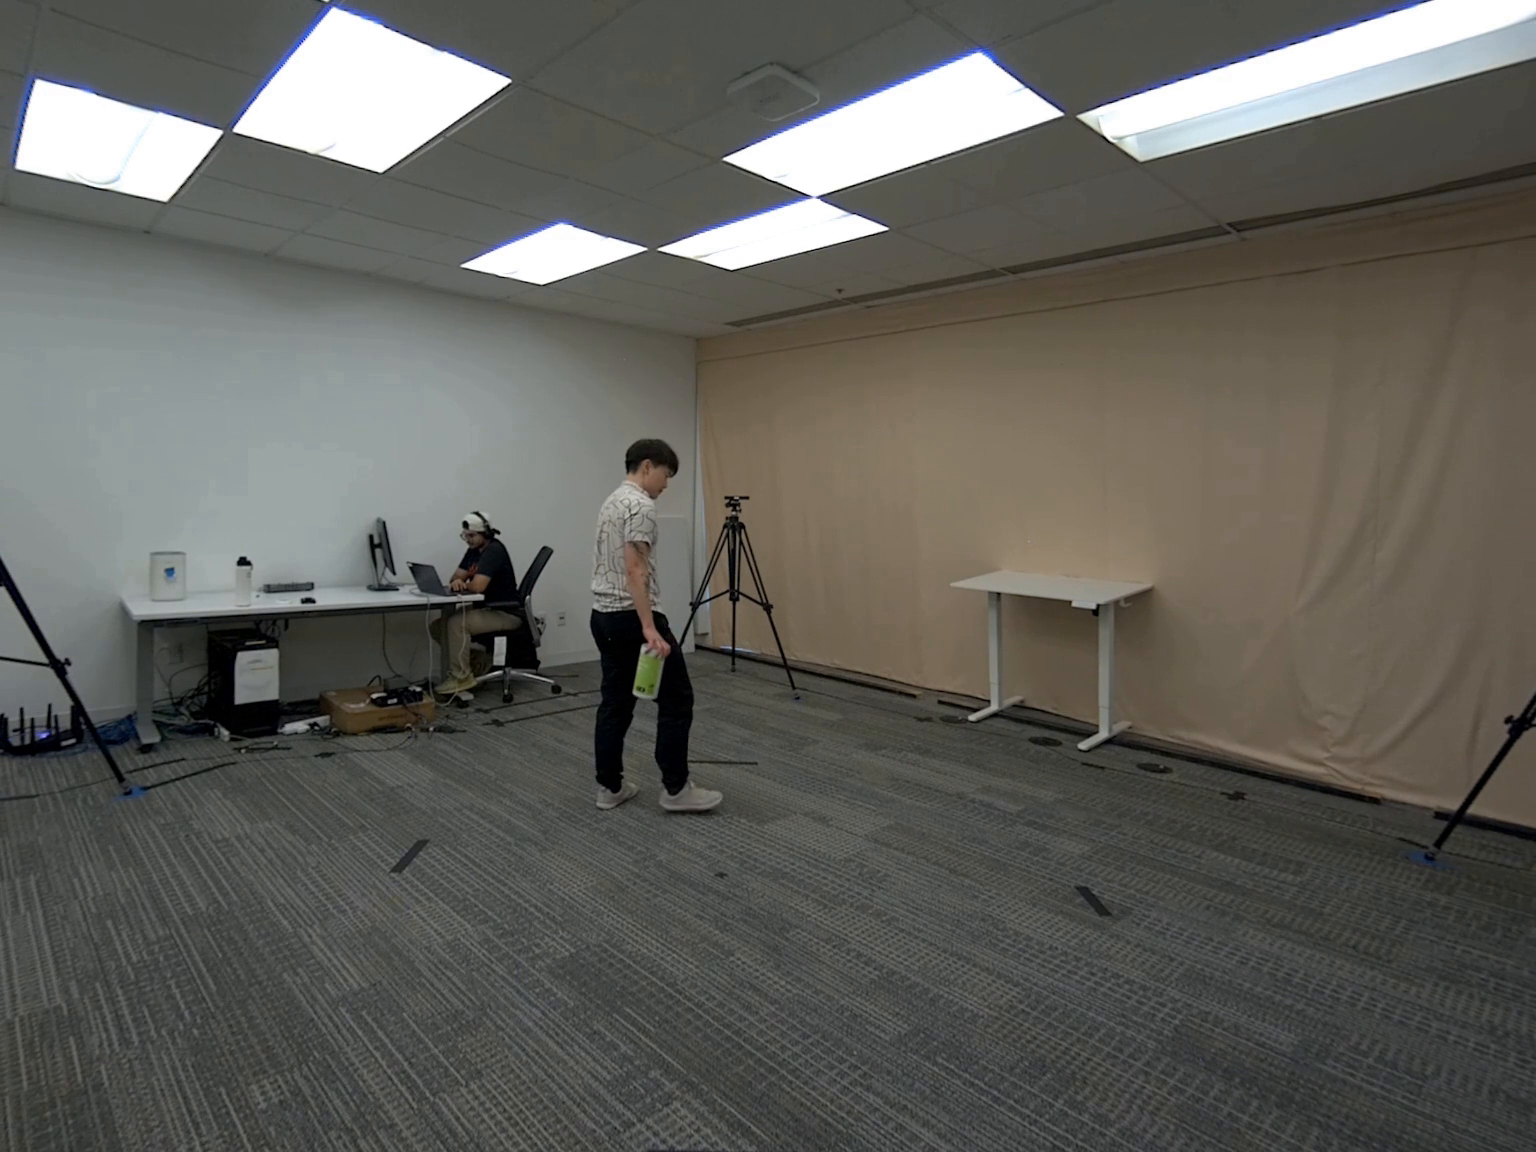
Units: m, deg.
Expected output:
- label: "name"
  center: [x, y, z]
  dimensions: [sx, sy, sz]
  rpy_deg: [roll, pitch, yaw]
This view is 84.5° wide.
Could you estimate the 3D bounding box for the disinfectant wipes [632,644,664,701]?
- label: "disinfectant wipes"
  center: [-0.515, 0.408, 3.563]
  dimensions: [0.117, 0.216, 0.118]
  rpy_deg: [10, 7, -3]
